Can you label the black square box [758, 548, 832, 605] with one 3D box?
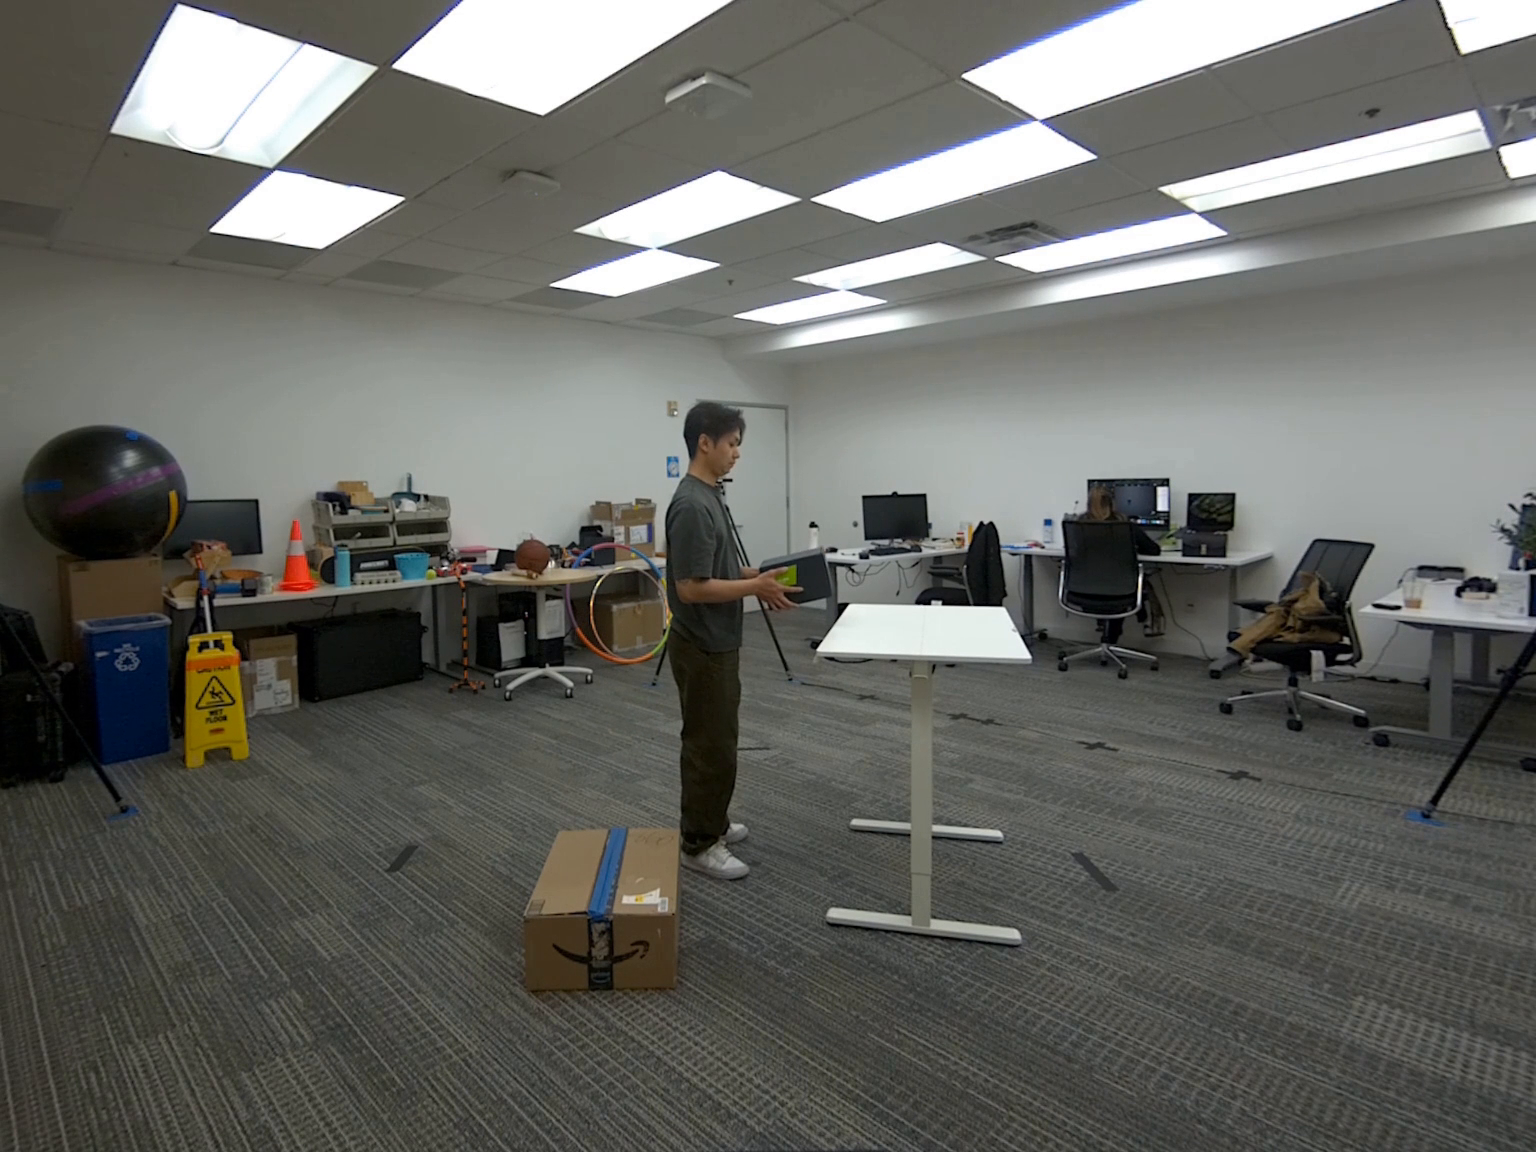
[{"bbox_3d":[0.102,-0.003,3.027,0.228,0.155,0.218,-11,6,-1],"label":"black square box"}]
